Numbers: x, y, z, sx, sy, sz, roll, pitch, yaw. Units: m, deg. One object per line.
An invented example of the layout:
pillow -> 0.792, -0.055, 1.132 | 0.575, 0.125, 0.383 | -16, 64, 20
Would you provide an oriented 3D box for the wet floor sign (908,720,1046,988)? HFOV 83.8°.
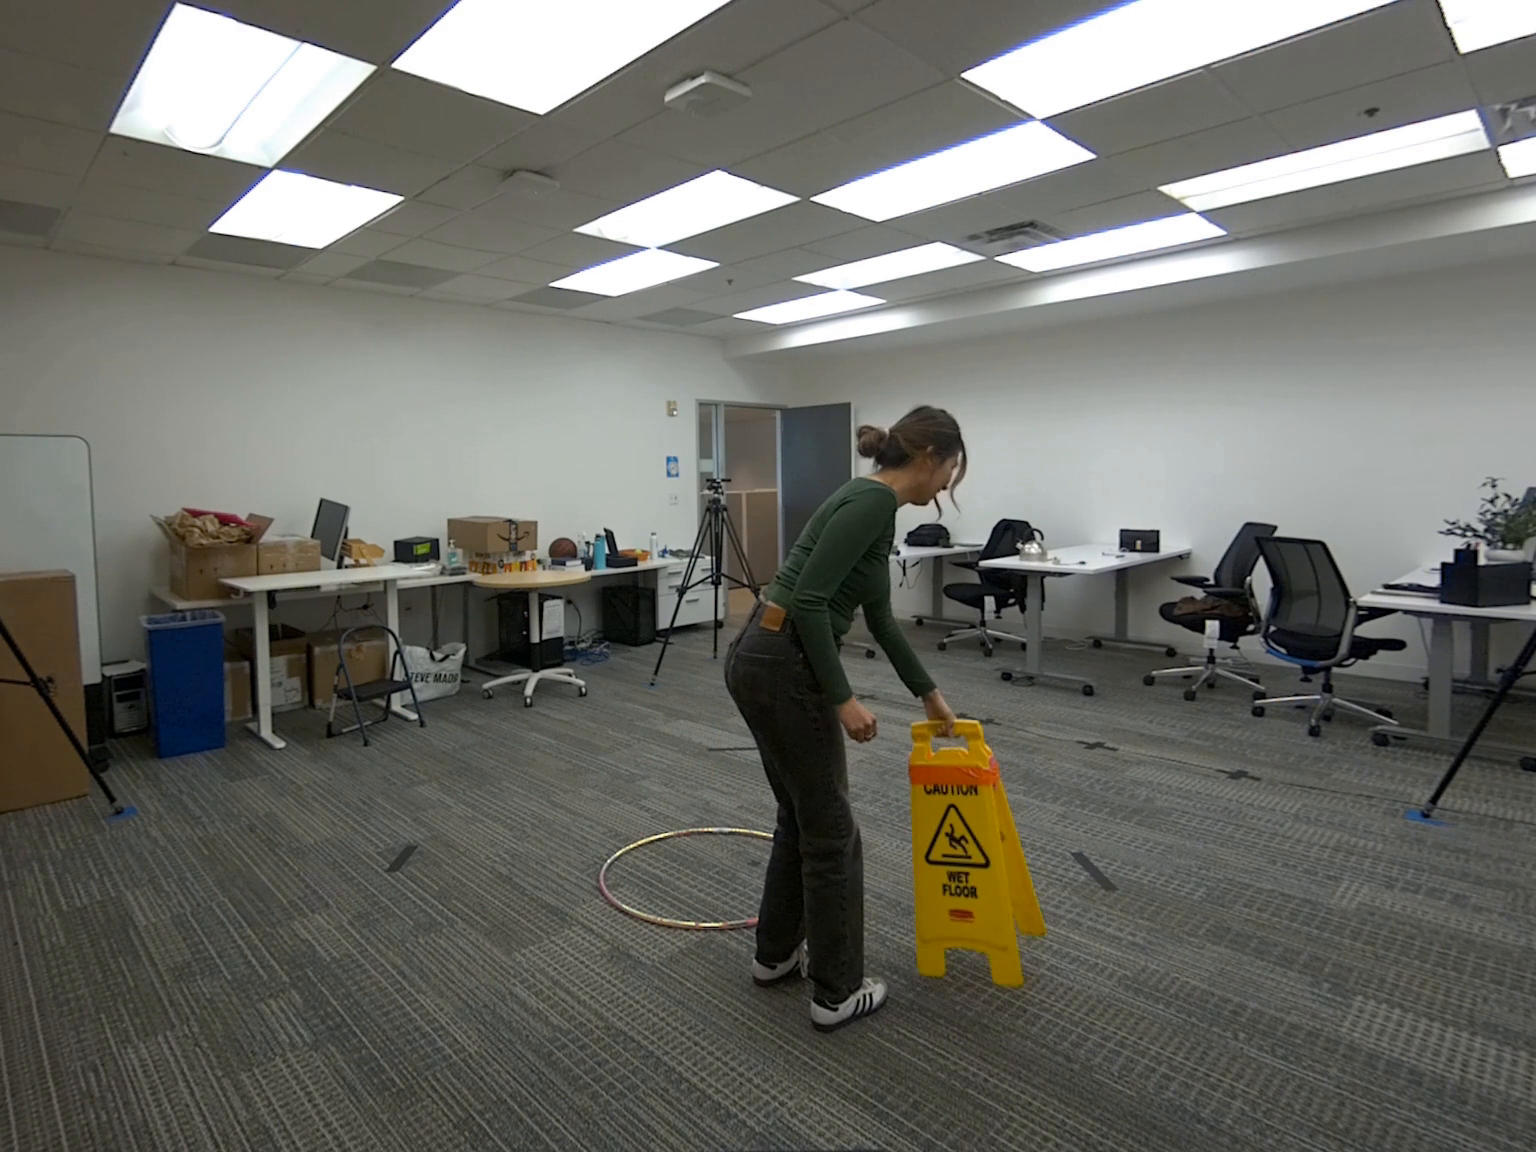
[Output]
wet floor sign -> 0.537, 0.711, 2.365 | 0.288, 0.647, 0.283 | -11, -2, 31
